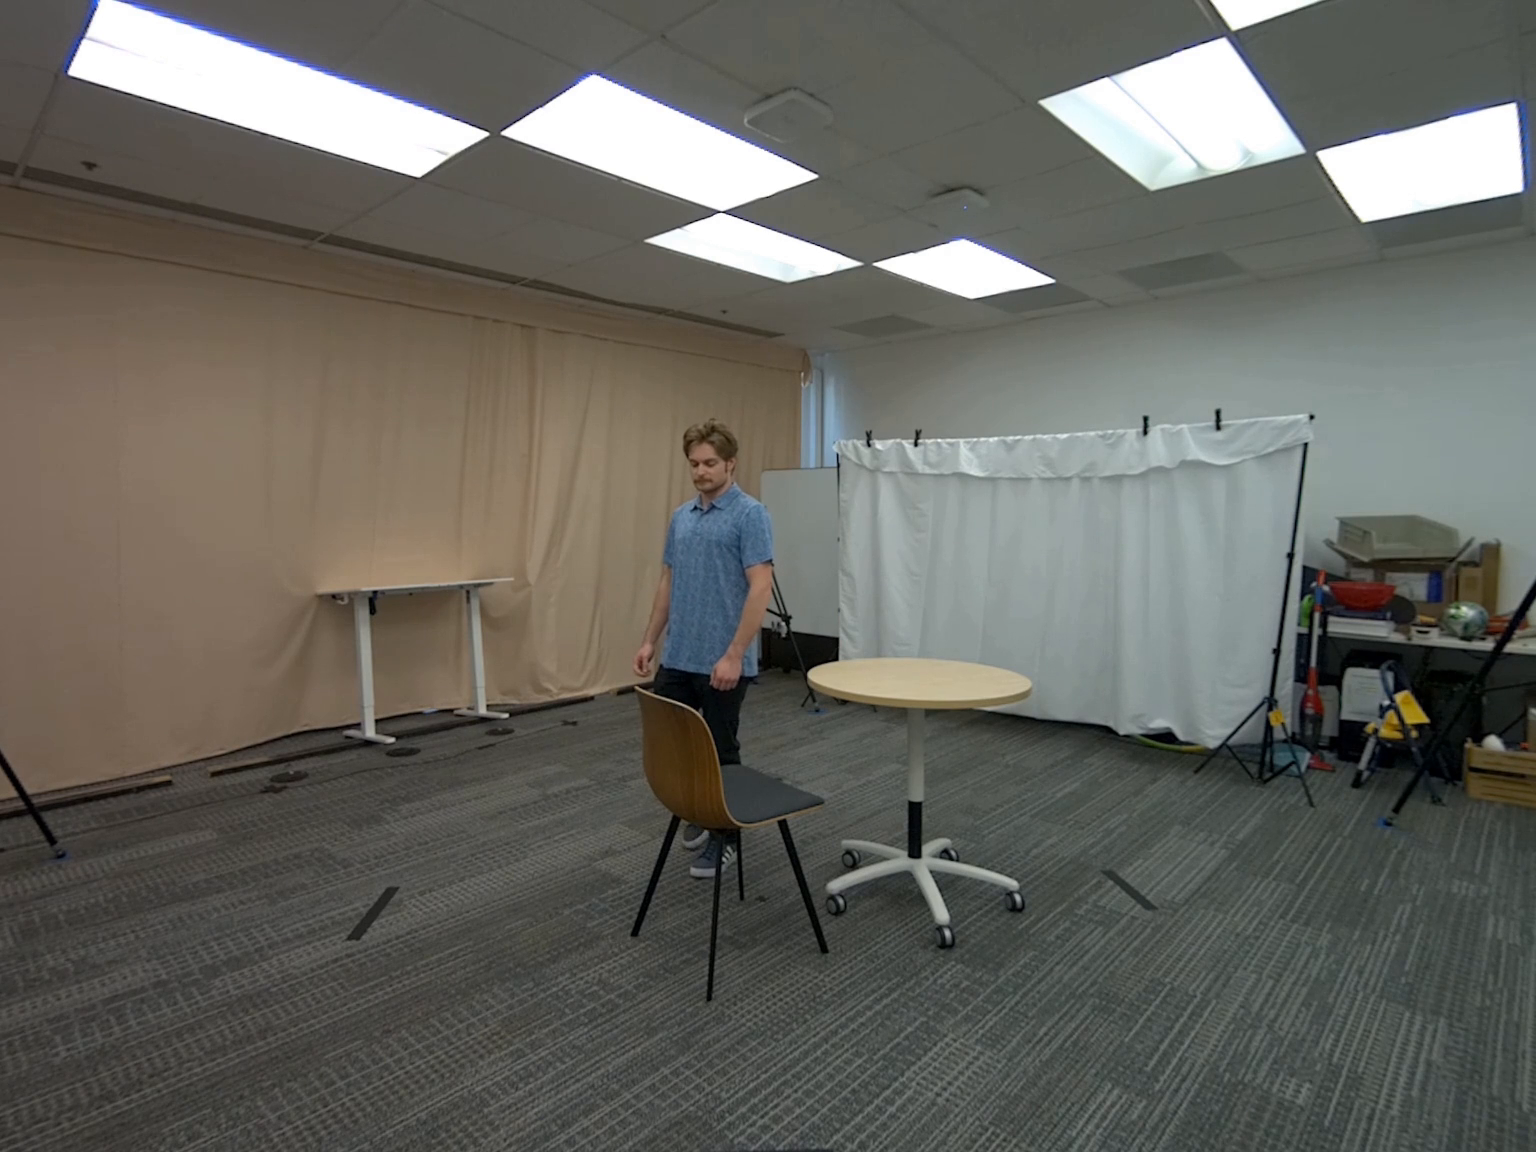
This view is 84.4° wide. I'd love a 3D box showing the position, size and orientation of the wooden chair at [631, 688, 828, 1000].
[{"bbox_3d":[-0.119,0.744,2.651,0.509,0.874,0.493,-8,7,-37],"label":"wooden chair"}]
